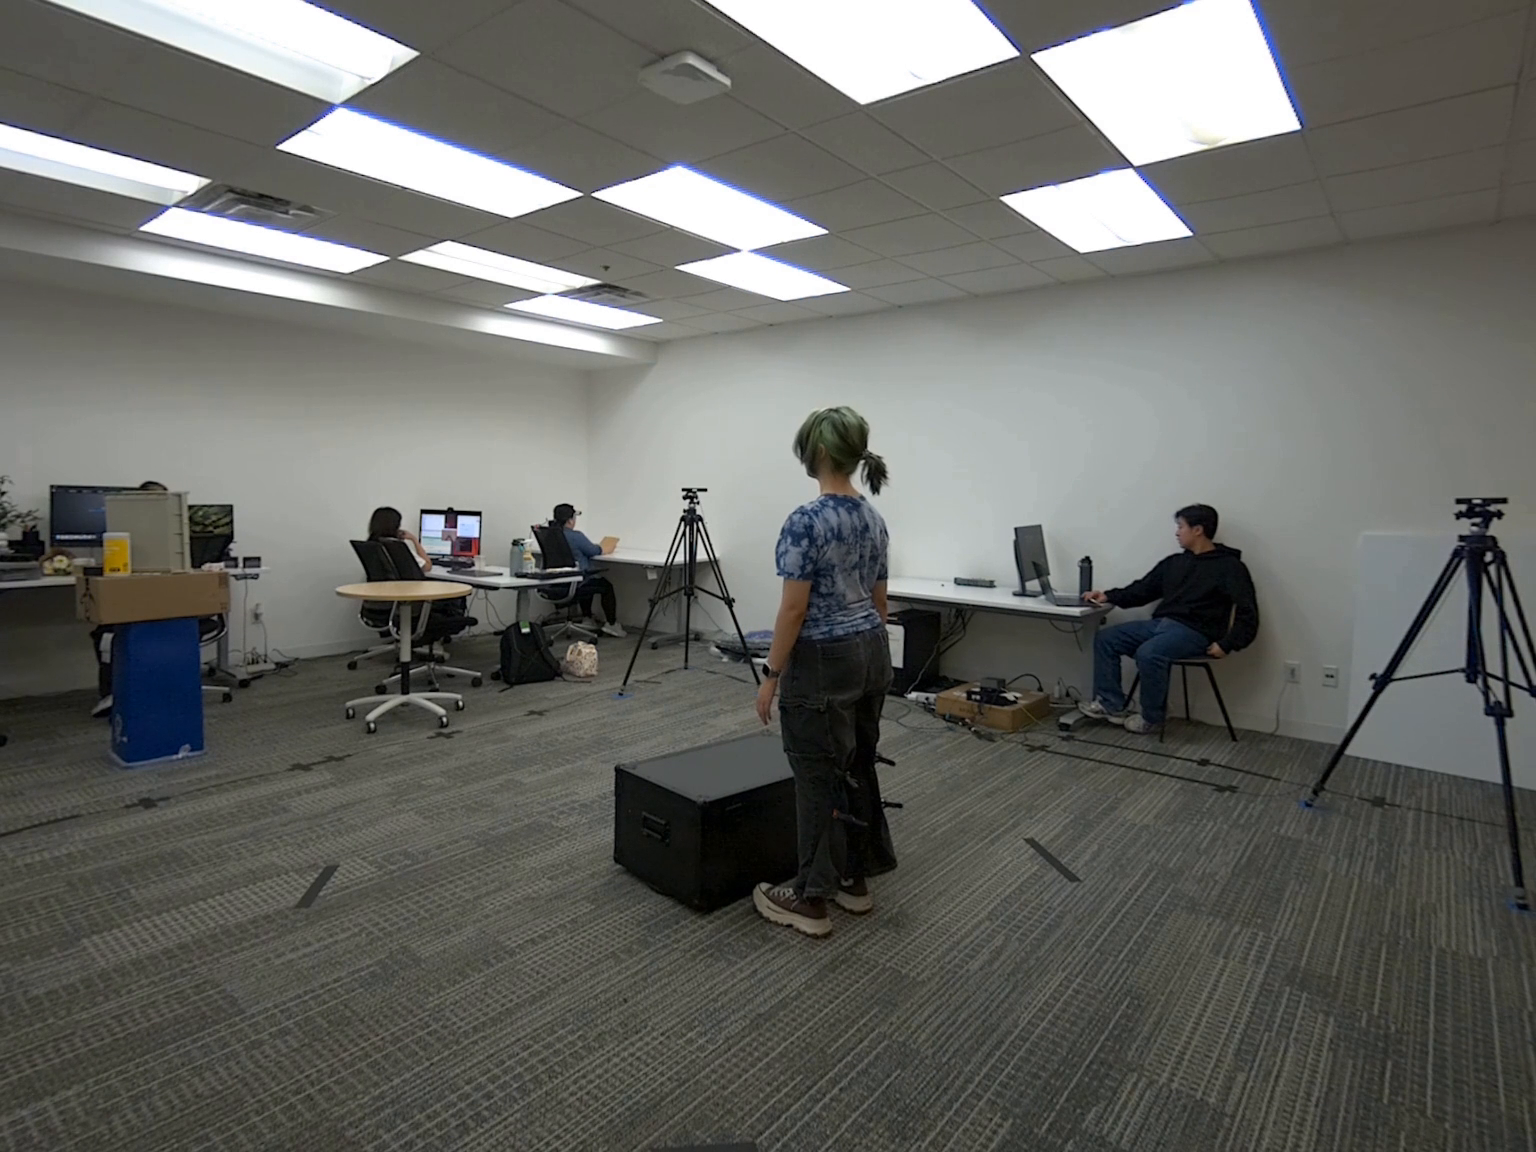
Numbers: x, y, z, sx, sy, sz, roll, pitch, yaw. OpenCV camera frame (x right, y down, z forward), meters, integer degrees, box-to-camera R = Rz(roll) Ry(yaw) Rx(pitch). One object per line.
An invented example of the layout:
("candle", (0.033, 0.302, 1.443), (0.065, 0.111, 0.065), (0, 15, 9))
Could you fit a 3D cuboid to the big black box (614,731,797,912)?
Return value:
("big black box", (-0.104, 0.874, 3.194), (0.836, 0.394, 0.539), (-5, 8, -43))
